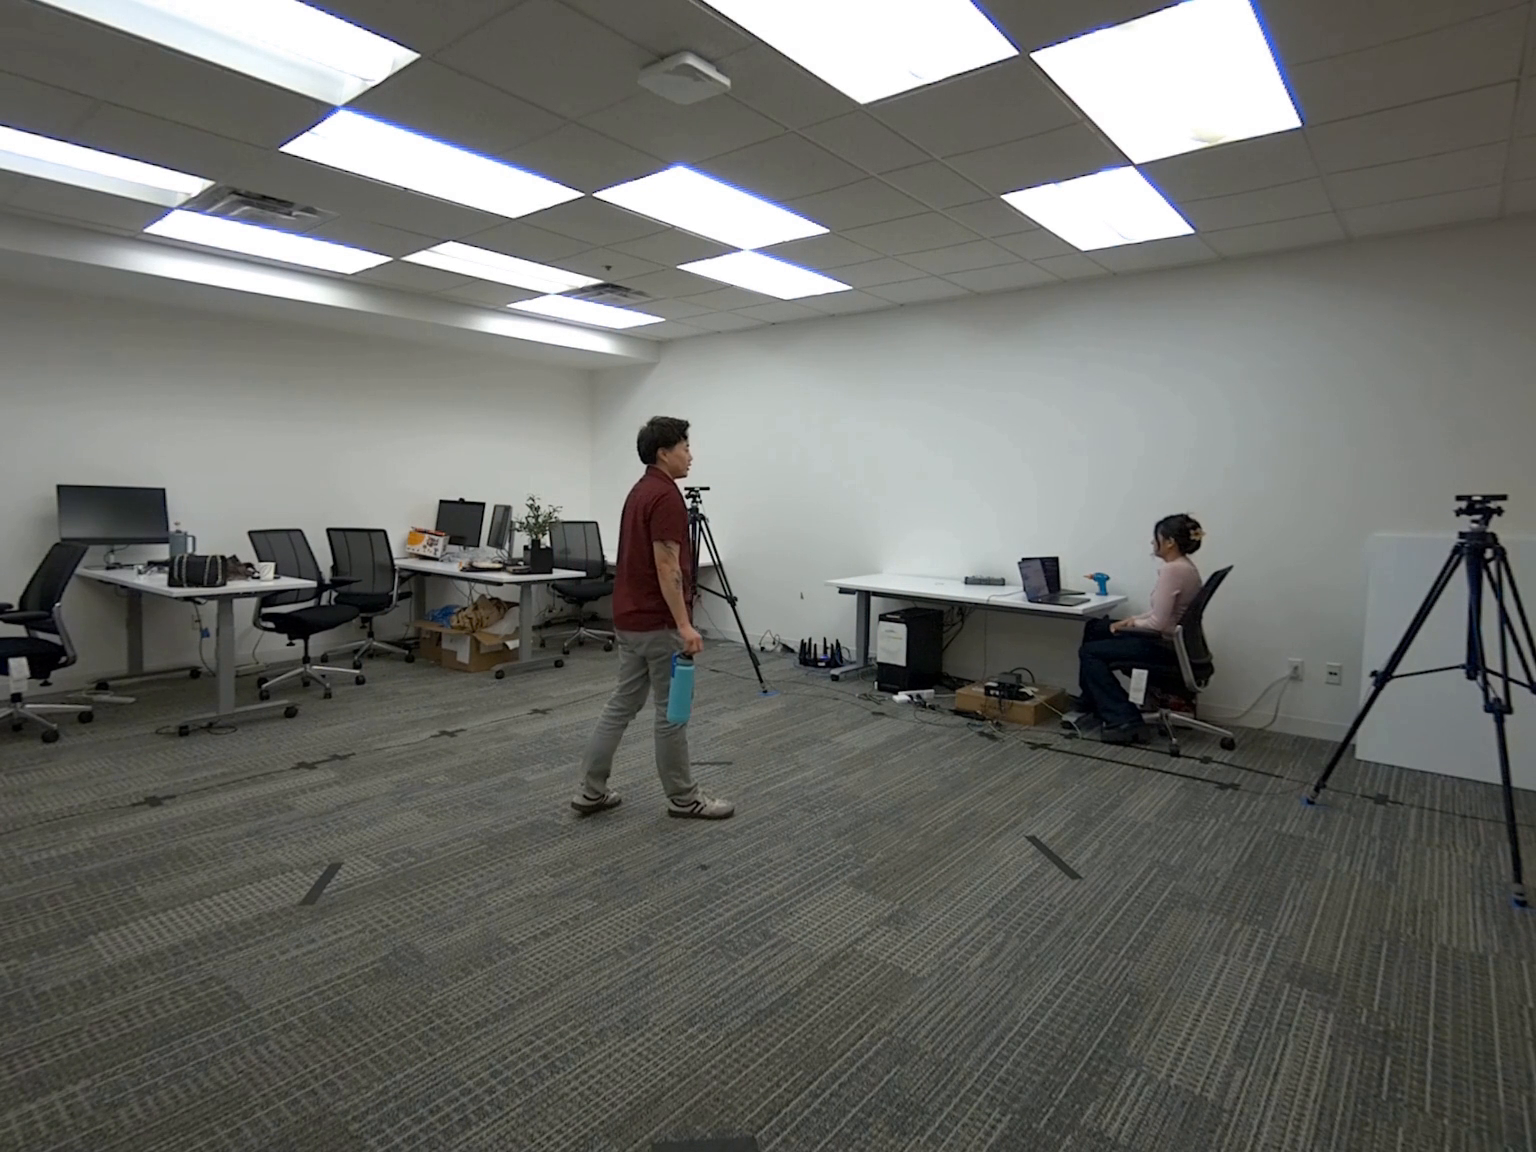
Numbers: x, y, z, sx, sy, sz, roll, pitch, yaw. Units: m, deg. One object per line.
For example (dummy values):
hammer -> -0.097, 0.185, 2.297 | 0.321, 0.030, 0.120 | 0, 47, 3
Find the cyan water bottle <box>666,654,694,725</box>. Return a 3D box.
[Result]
cyan water bottle -> -0.353, 0.430, 3.371 | 0.092, 0.282, 0.093 | 7, 7, -3
